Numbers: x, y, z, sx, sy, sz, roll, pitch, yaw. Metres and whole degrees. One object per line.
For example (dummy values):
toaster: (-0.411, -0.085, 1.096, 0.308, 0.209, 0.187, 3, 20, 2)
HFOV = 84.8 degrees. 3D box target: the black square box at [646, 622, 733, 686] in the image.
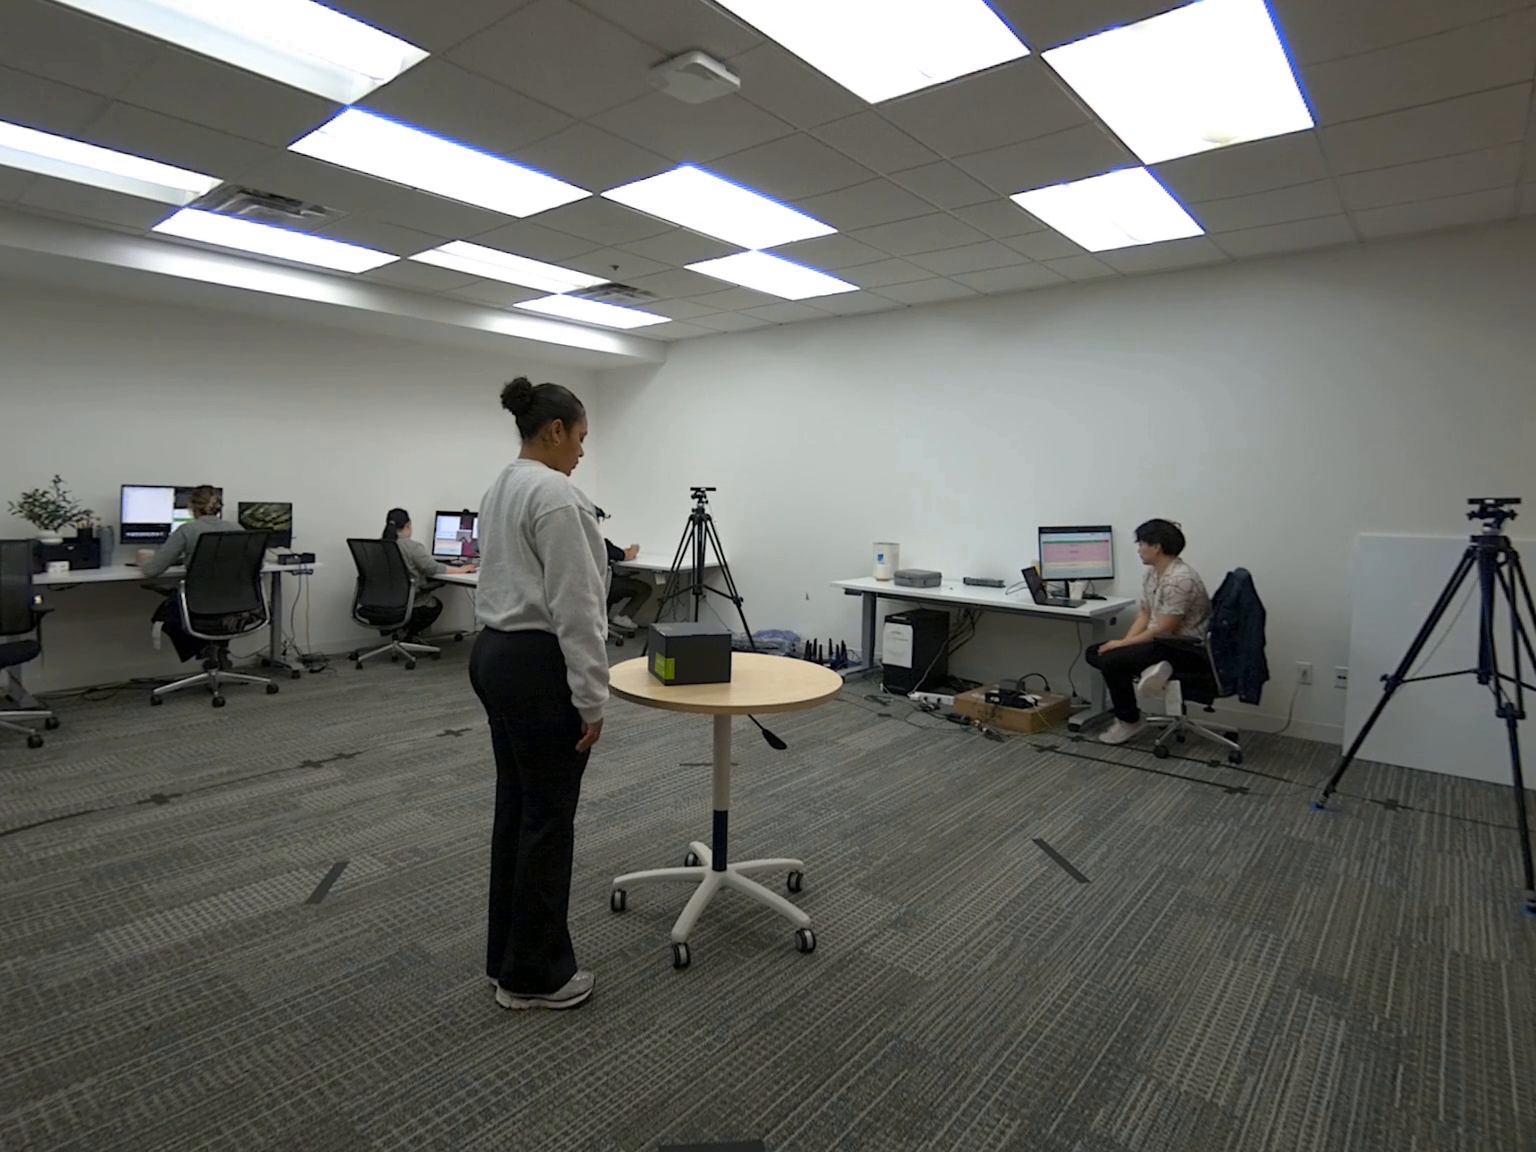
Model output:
black square box: (-0.263, 0.238, 2.722, 0.213, 0.155, 0.233, -1, 6, -19)
